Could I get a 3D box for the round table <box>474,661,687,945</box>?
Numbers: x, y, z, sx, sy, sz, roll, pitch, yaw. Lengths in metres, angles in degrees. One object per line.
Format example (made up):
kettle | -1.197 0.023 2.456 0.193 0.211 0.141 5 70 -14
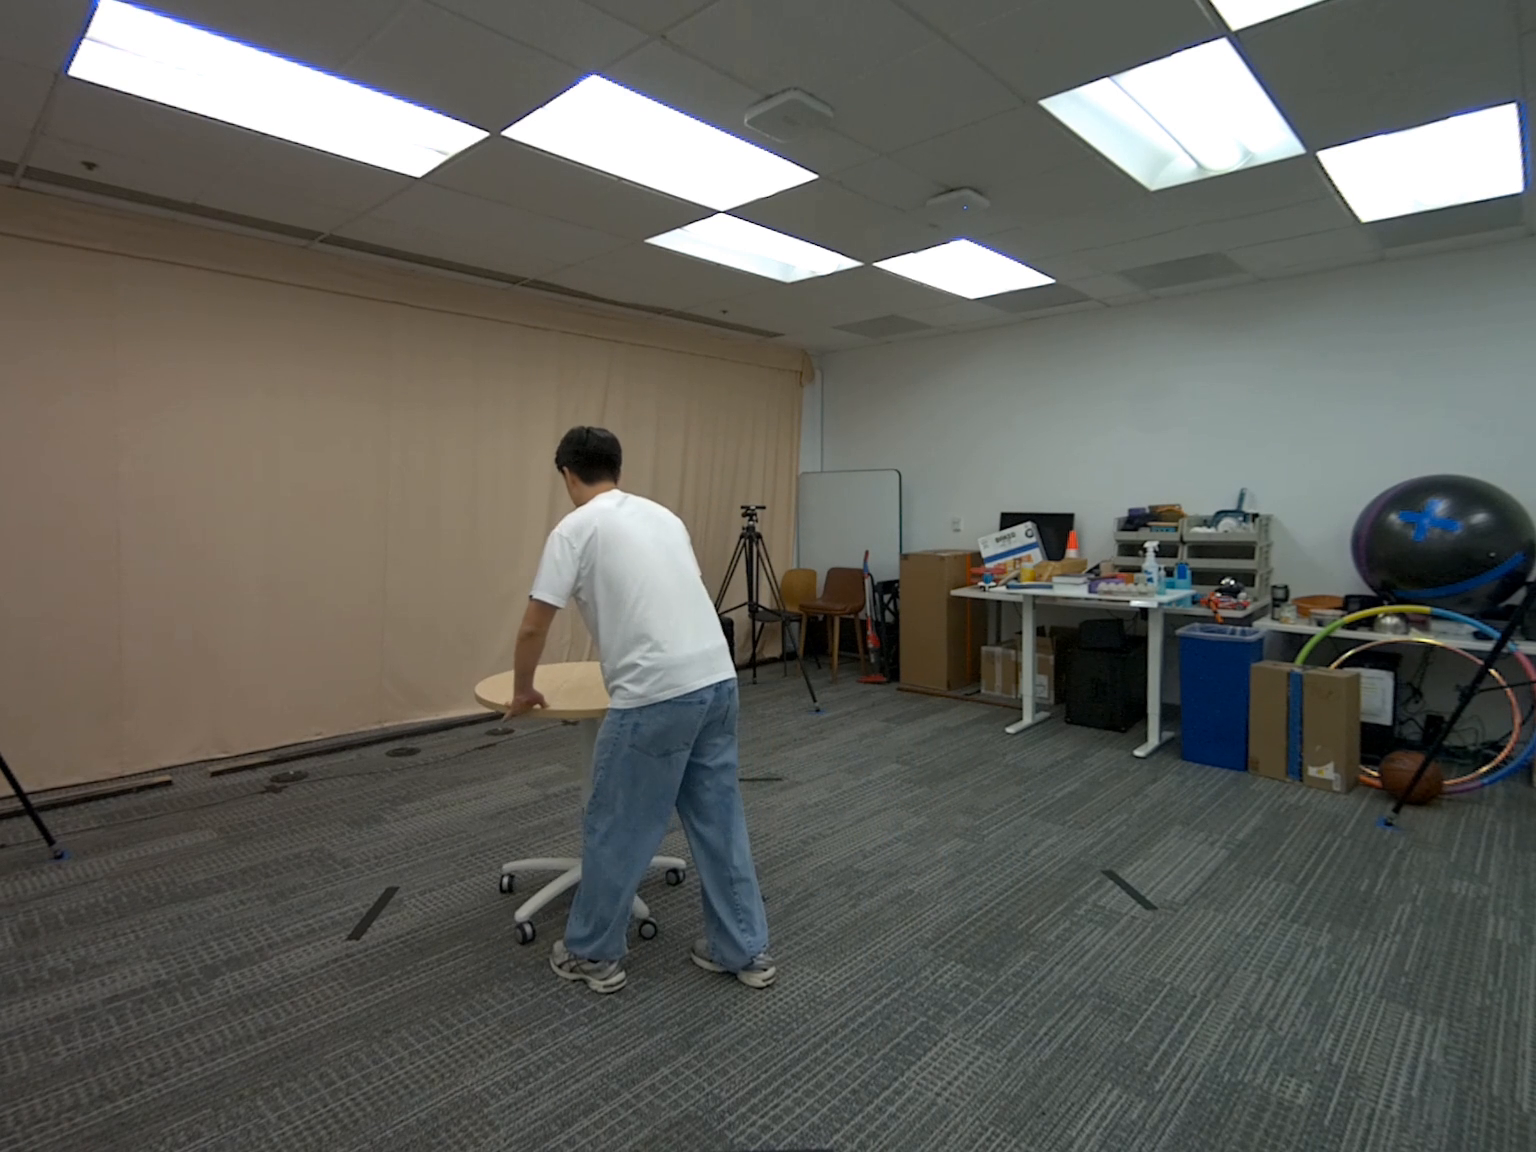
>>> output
round table | -0.620 0.765 2.965 0.763 0.792 0.767 -1 4 -2
